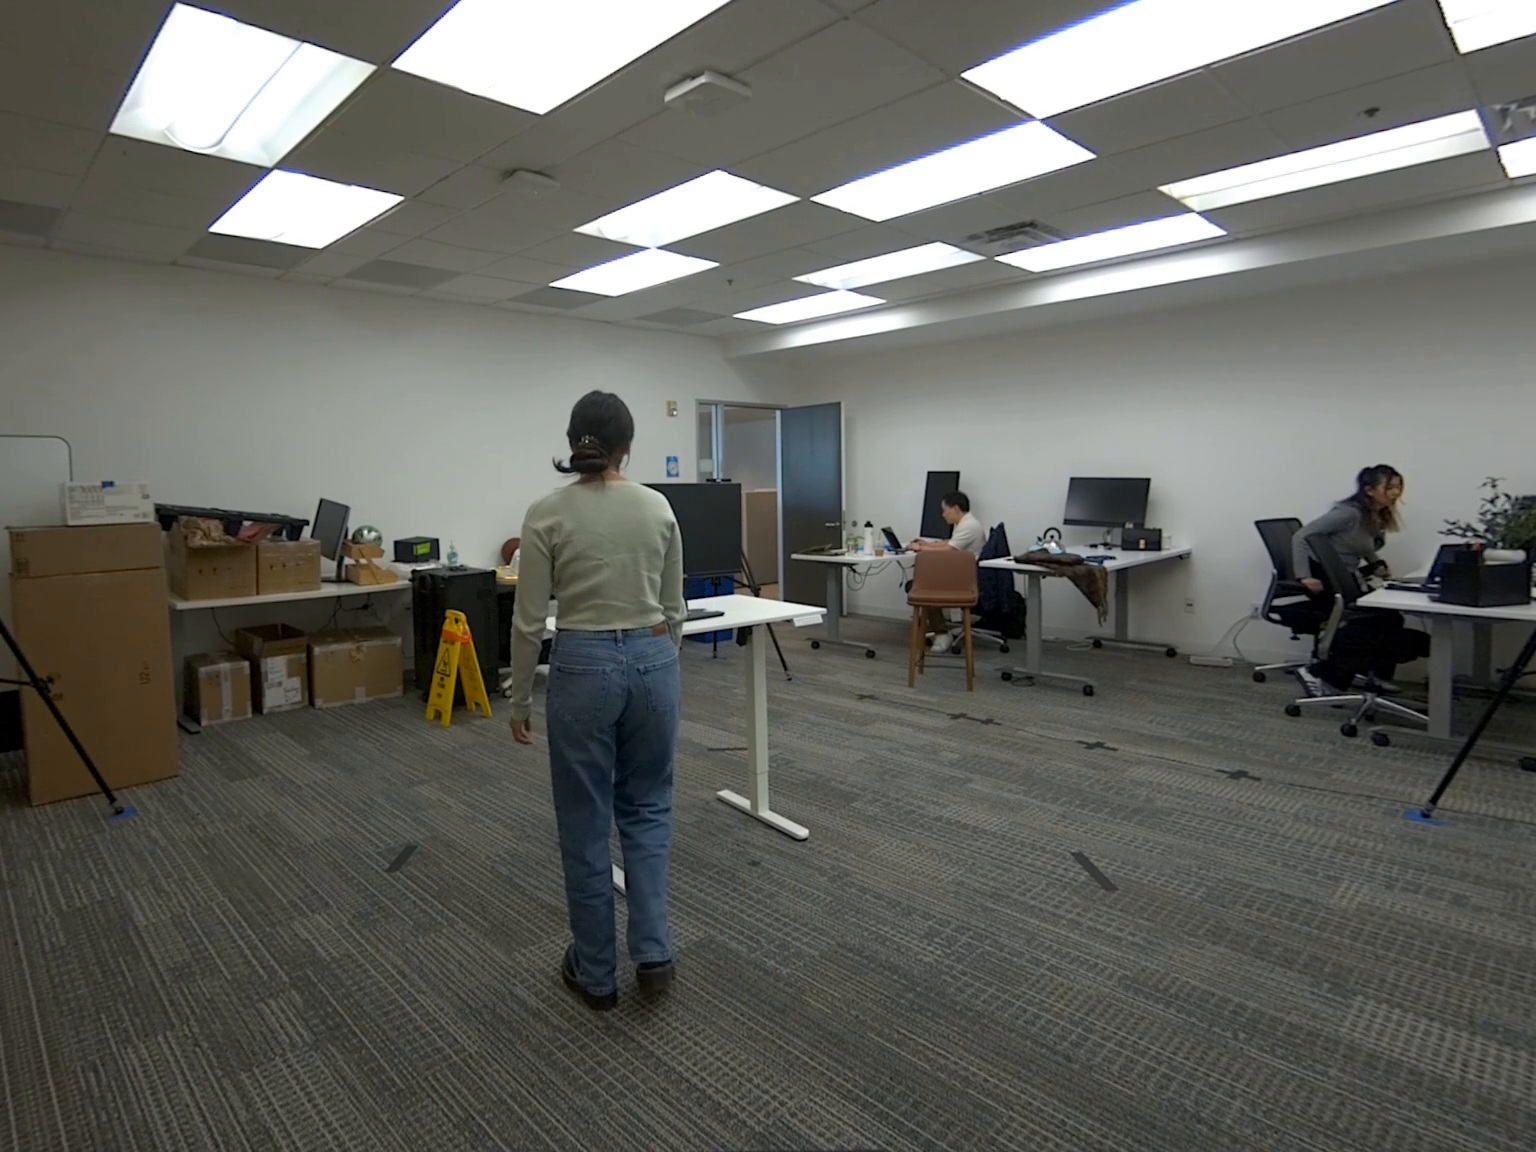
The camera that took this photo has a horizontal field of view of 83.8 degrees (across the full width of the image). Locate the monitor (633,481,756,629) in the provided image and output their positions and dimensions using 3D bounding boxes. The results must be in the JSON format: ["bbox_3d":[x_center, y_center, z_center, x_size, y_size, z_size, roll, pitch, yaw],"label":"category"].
[{"bbox_3d":[-0.326,-0.086,3.185,0.525,0.519,0.193,-4,10,-40],"label":"monitor"}]
